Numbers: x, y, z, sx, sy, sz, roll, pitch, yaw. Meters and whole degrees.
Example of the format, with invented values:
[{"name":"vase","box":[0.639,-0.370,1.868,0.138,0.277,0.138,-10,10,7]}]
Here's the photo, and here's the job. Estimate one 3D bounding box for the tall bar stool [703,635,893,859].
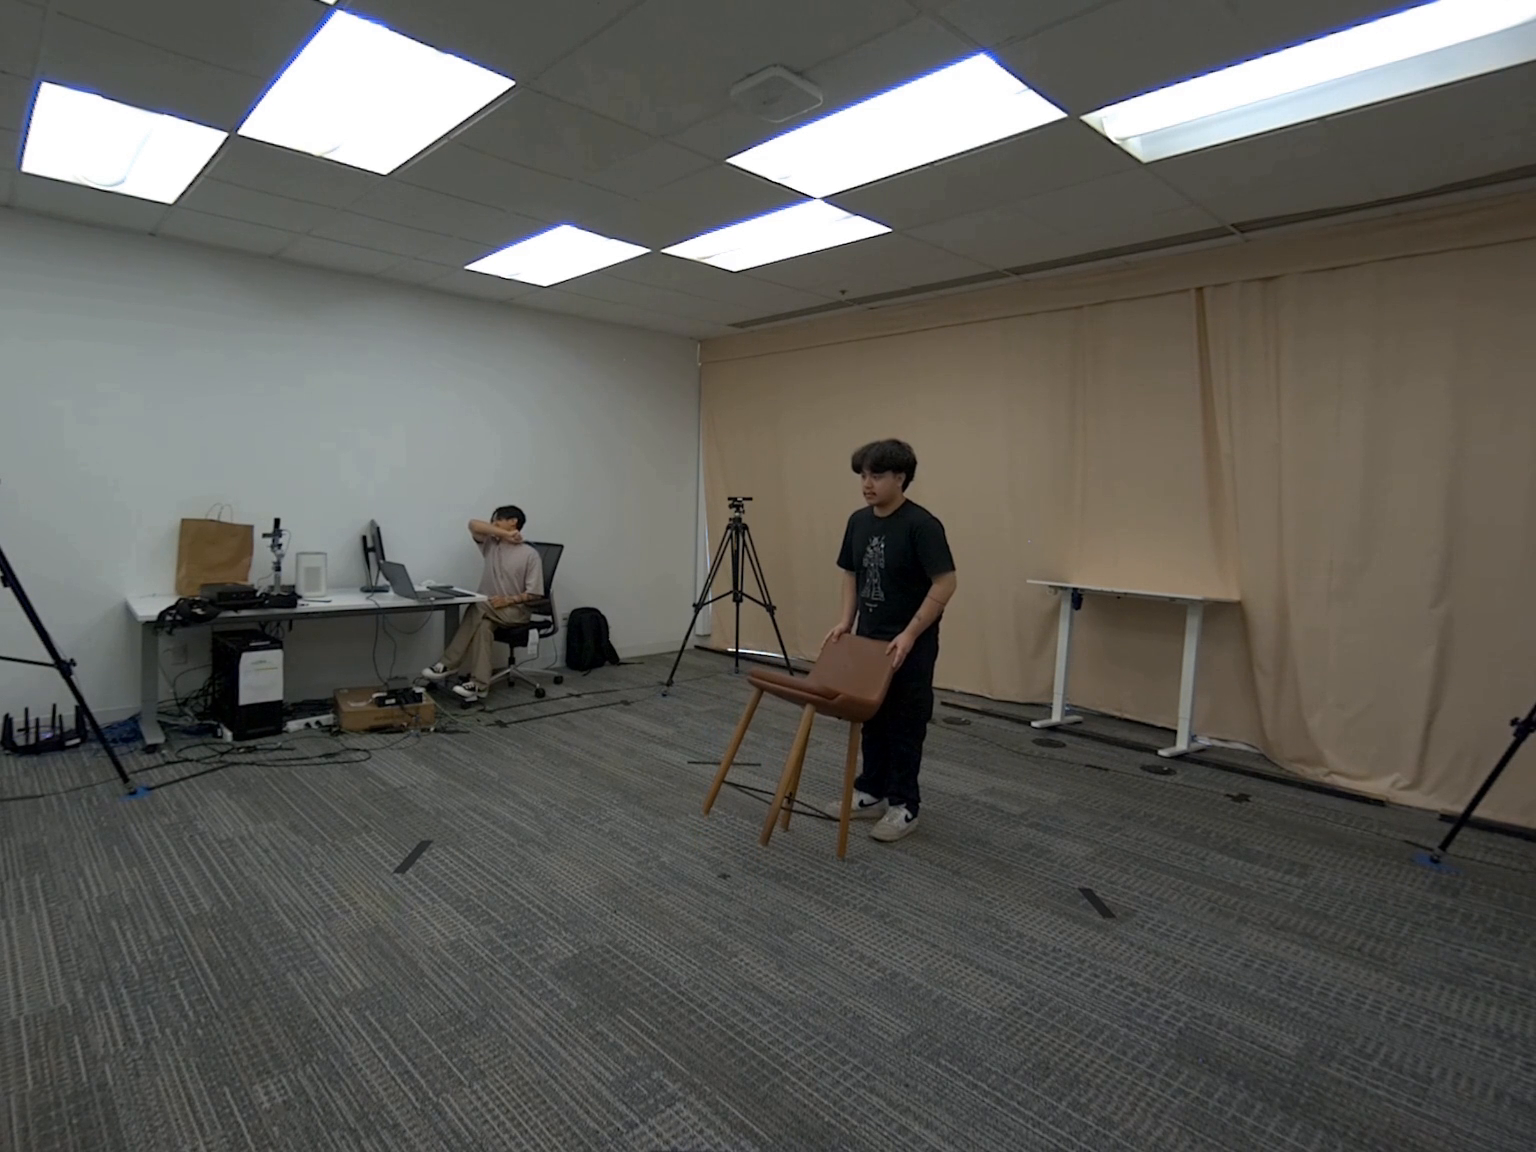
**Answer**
[{"name":"tall bar stool","box":[0.144,0.611,3.365,0.454,0.894,0.467,25,-12,-35]}]
